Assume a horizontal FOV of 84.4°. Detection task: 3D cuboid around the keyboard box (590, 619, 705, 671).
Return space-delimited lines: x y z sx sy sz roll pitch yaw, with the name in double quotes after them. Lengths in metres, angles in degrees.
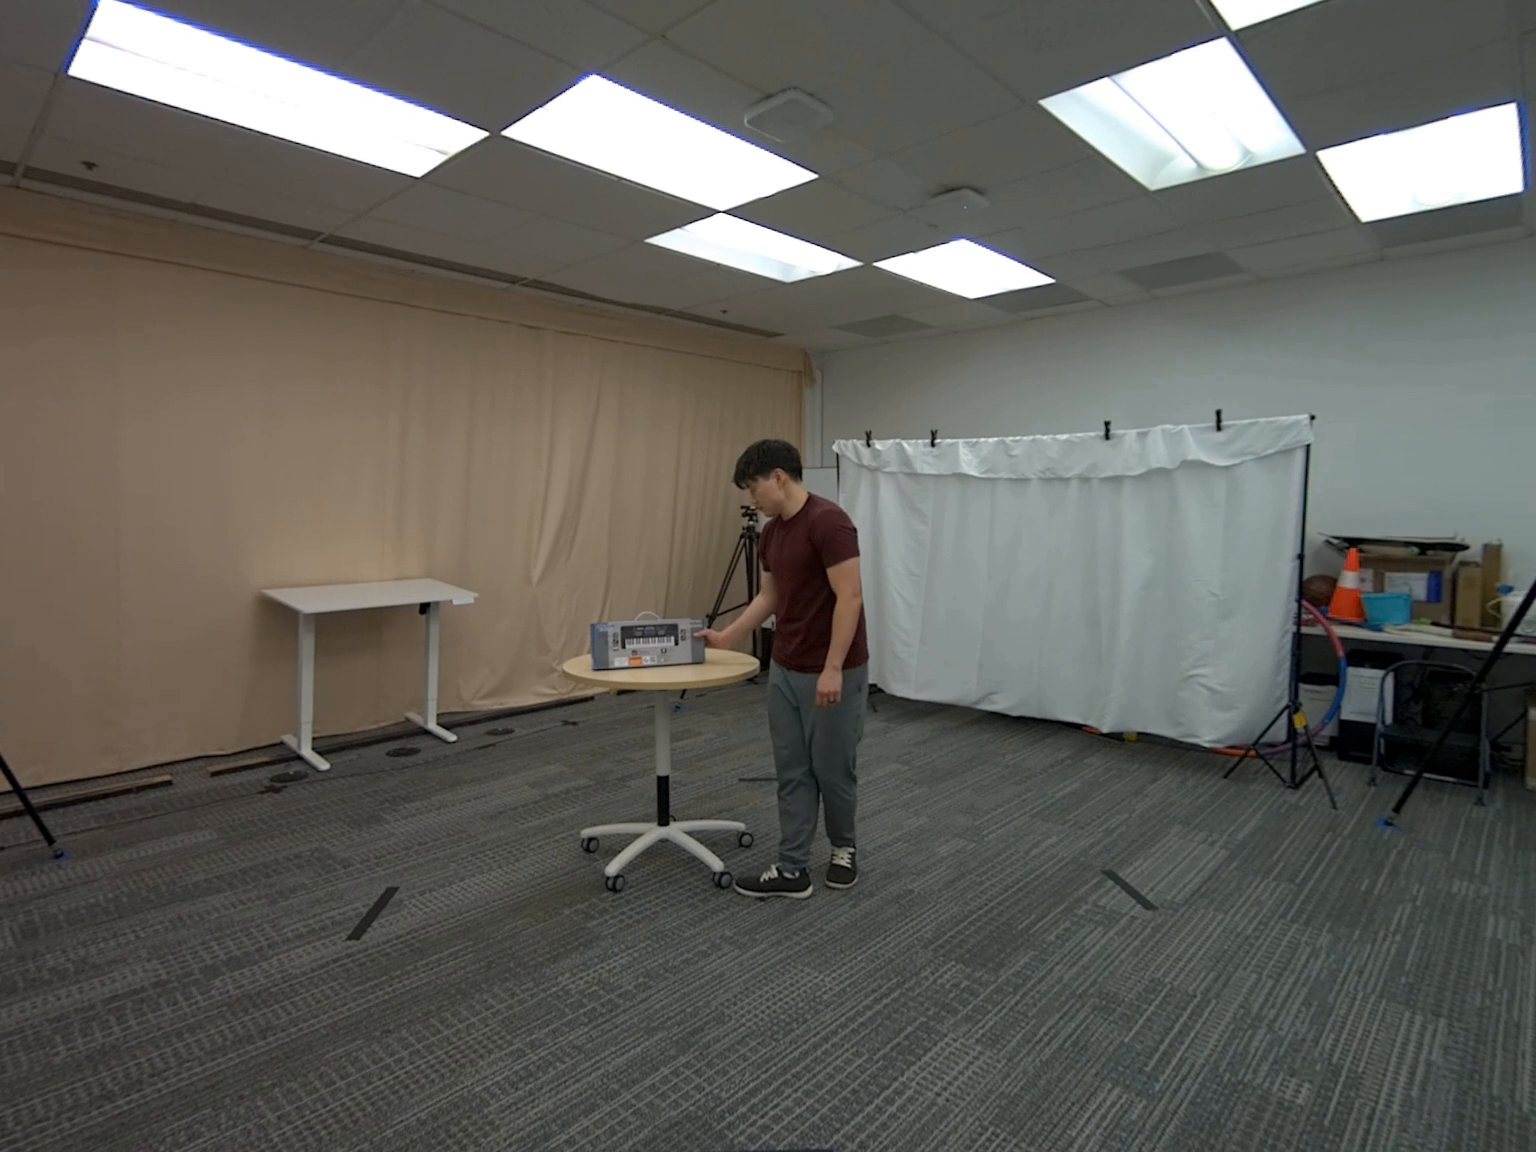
-0.455 0.260 3.219 0.429 0.176 0.060 -1 -6 -18 "keyboard box"
